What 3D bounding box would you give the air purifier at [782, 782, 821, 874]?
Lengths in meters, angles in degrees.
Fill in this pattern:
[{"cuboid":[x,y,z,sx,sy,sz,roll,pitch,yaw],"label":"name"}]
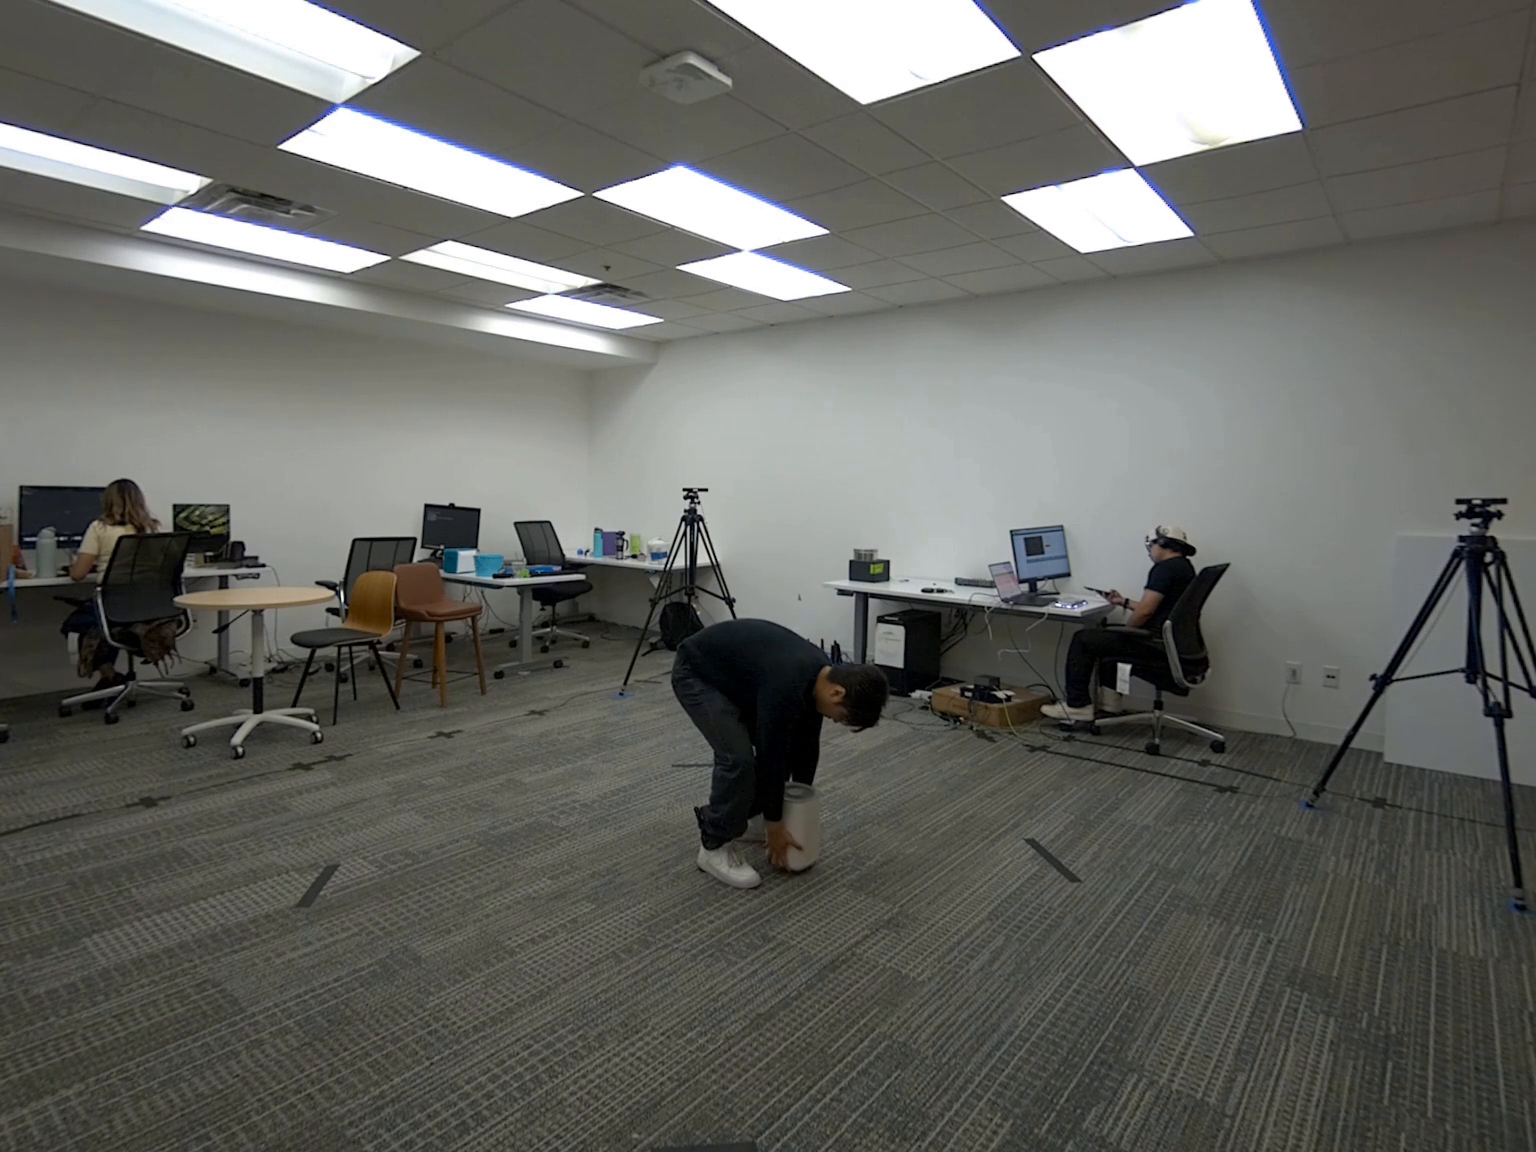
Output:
[{"cuboid":[0.103,0.929,3.169,0.177,0.264,0.167,6,8,42],"label":"air purifier"}]
